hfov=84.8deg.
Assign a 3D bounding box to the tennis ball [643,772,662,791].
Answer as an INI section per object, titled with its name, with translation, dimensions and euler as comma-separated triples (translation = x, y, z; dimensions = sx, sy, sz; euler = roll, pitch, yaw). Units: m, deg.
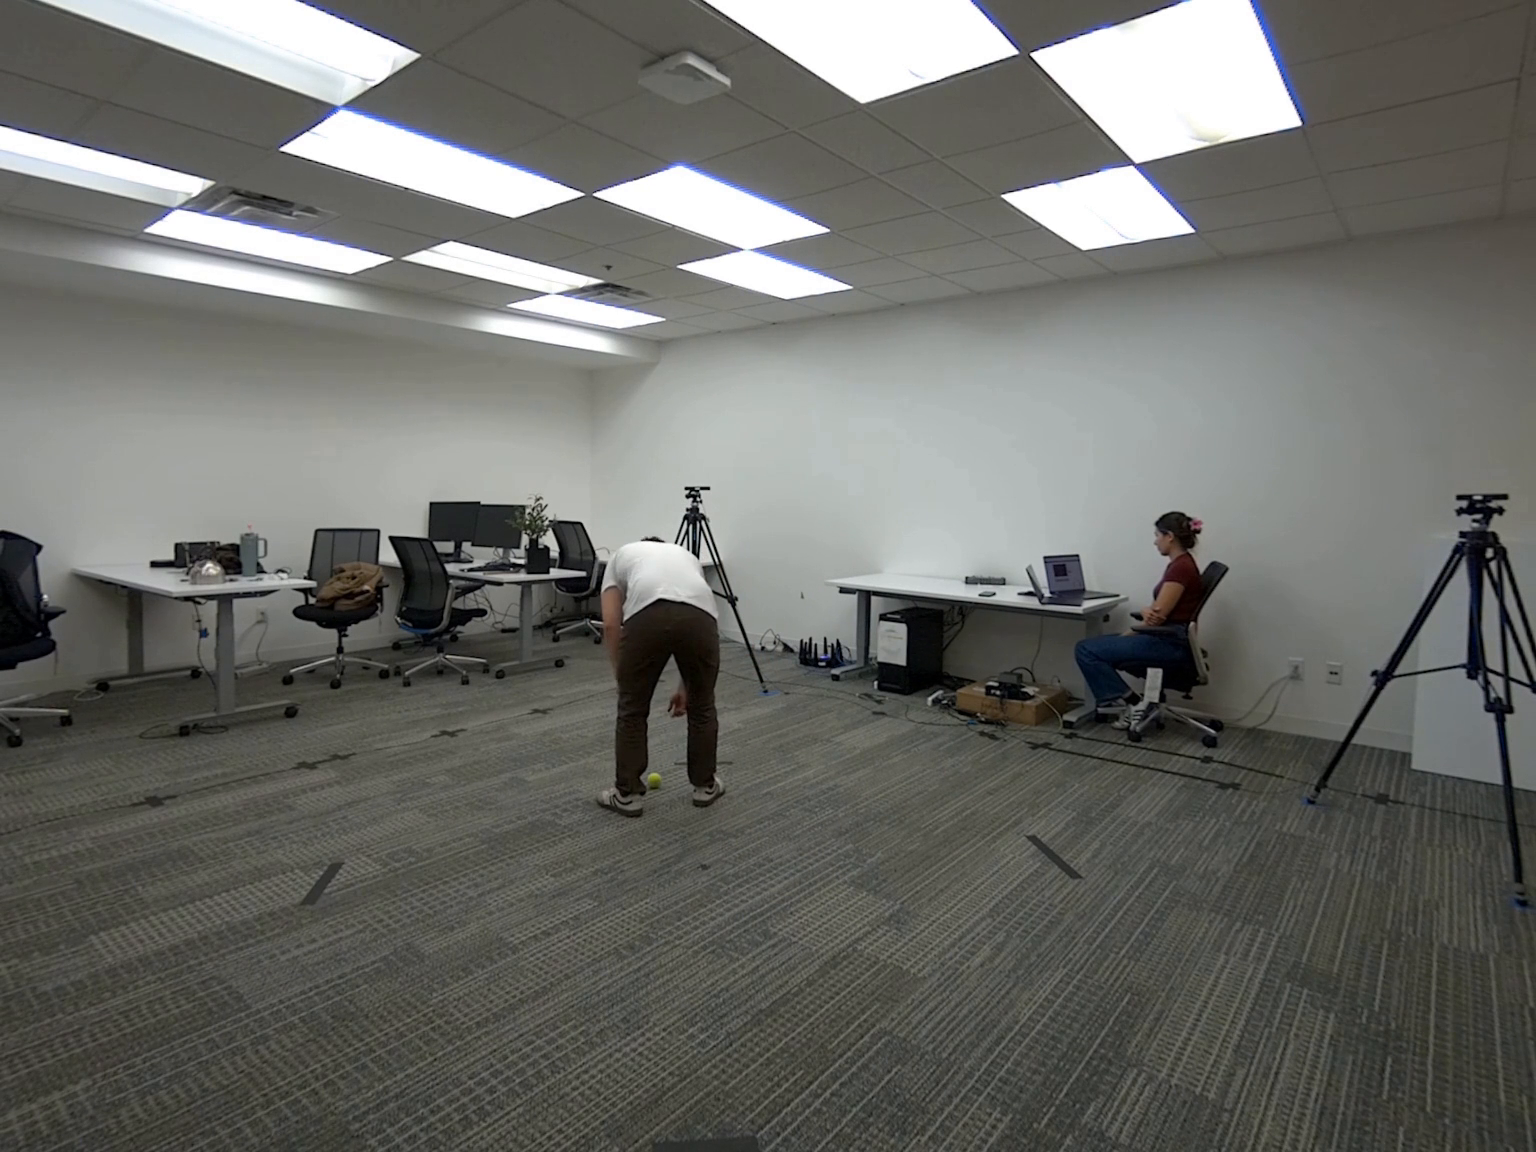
[tennis ball]
translation = -0.536, 0.934, 3.943
dimensions = 0.066, 0.066, 0.067
euler = 1, 4, -2
